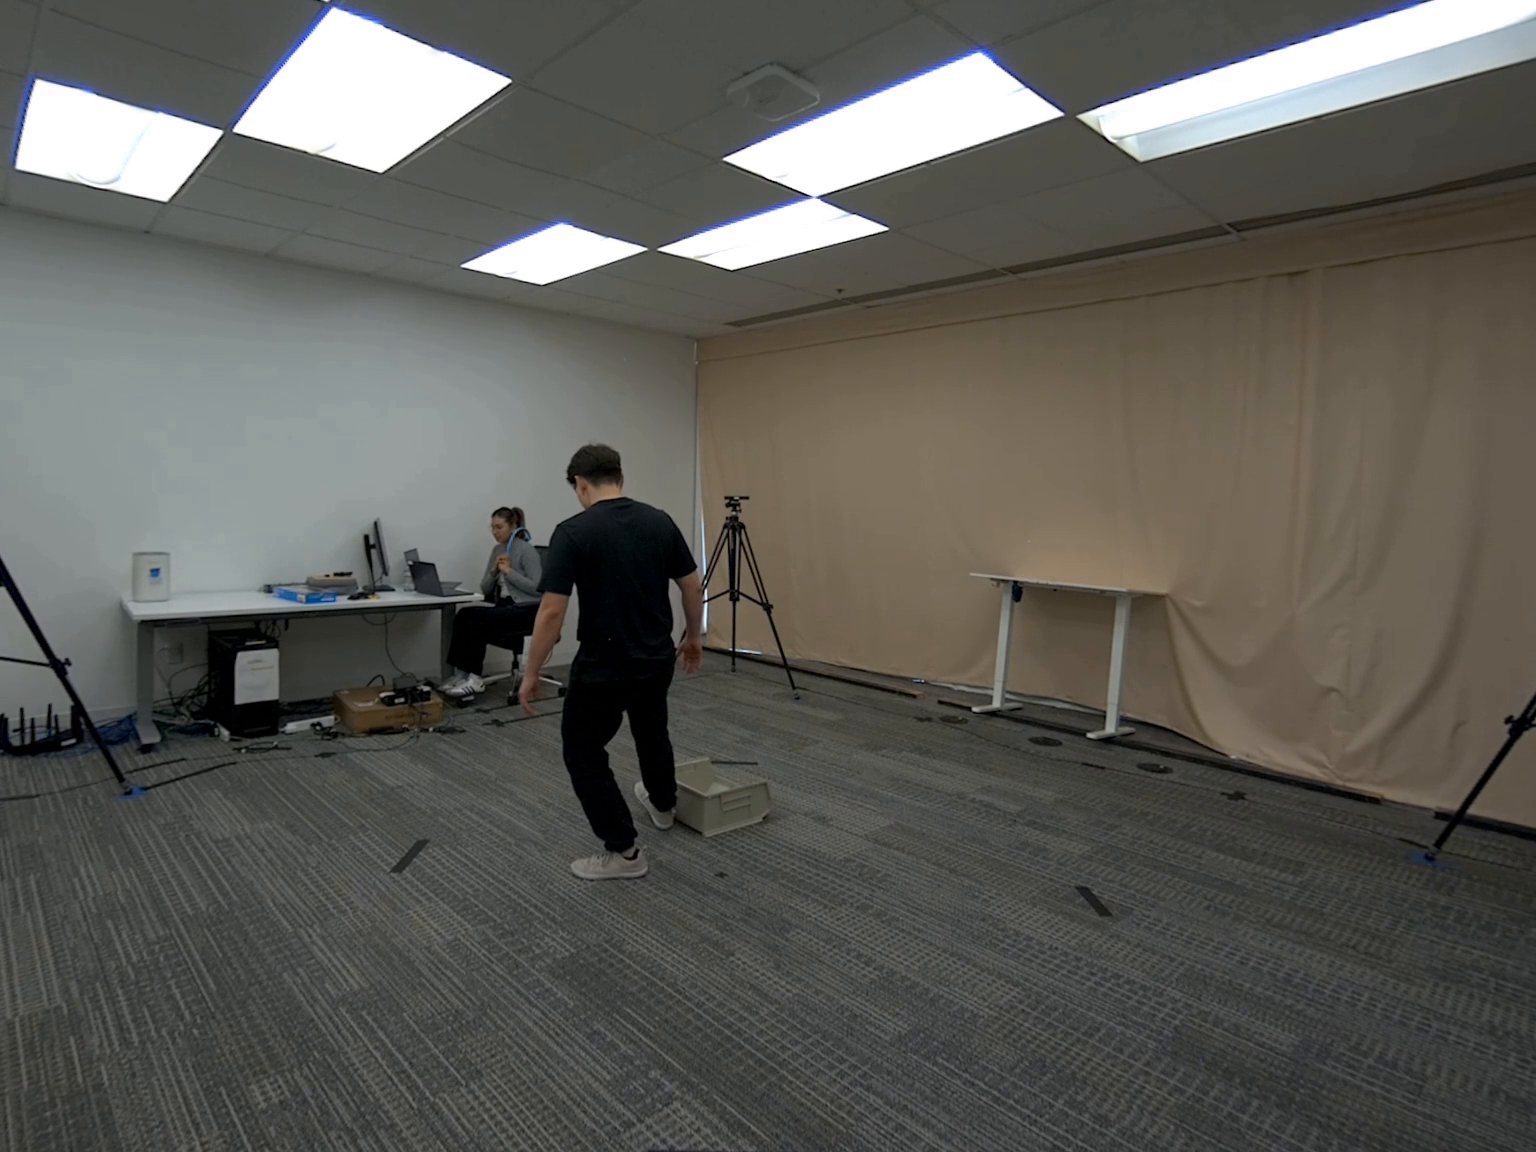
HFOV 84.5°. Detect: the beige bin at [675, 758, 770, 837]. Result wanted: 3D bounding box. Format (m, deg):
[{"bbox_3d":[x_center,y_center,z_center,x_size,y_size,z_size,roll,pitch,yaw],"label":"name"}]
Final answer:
[{"bbox_3d":[-0.265,0.961,3.711,0.369,0.188,0.433,-4,7,-41],"label":"beige bin"}]
